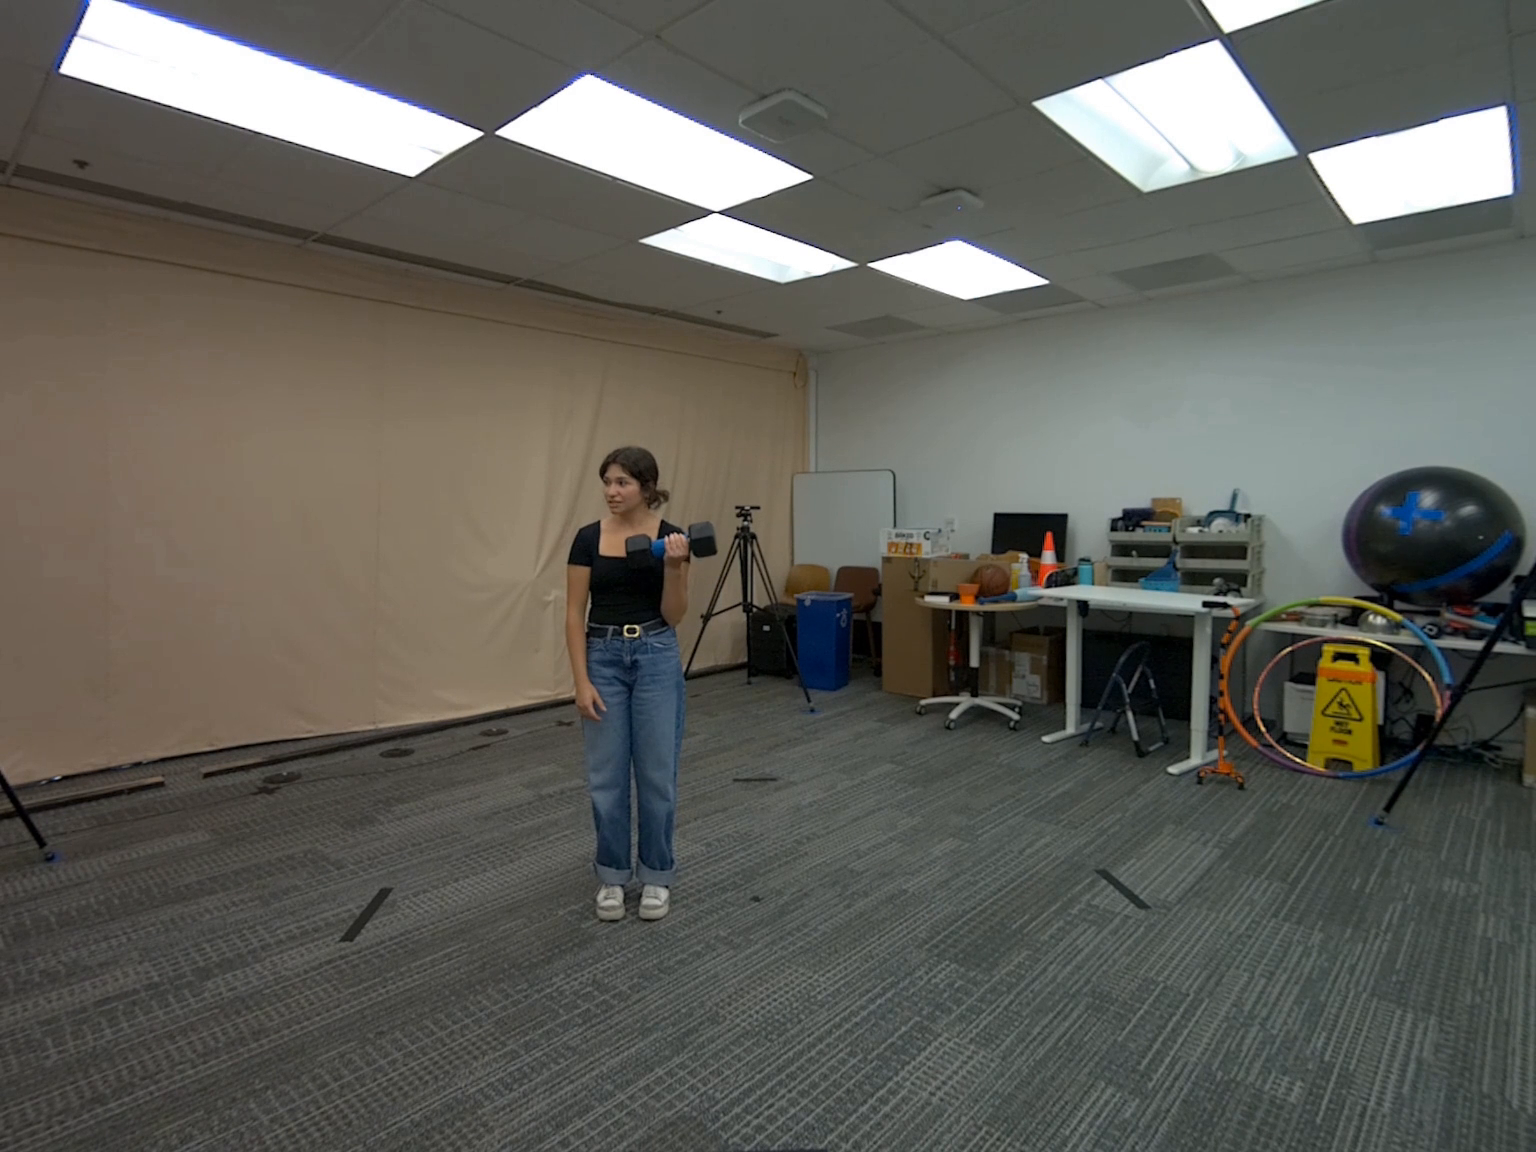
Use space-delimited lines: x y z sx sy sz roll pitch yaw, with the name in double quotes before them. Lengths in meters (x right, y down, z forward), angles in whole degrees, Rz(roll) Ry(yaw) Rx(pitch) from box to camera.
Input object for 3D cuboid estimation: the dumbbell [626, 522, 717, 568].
"dumbbell" -0.315 -0.094 2.749 0.294 0.121 0.110 -9 24 2
